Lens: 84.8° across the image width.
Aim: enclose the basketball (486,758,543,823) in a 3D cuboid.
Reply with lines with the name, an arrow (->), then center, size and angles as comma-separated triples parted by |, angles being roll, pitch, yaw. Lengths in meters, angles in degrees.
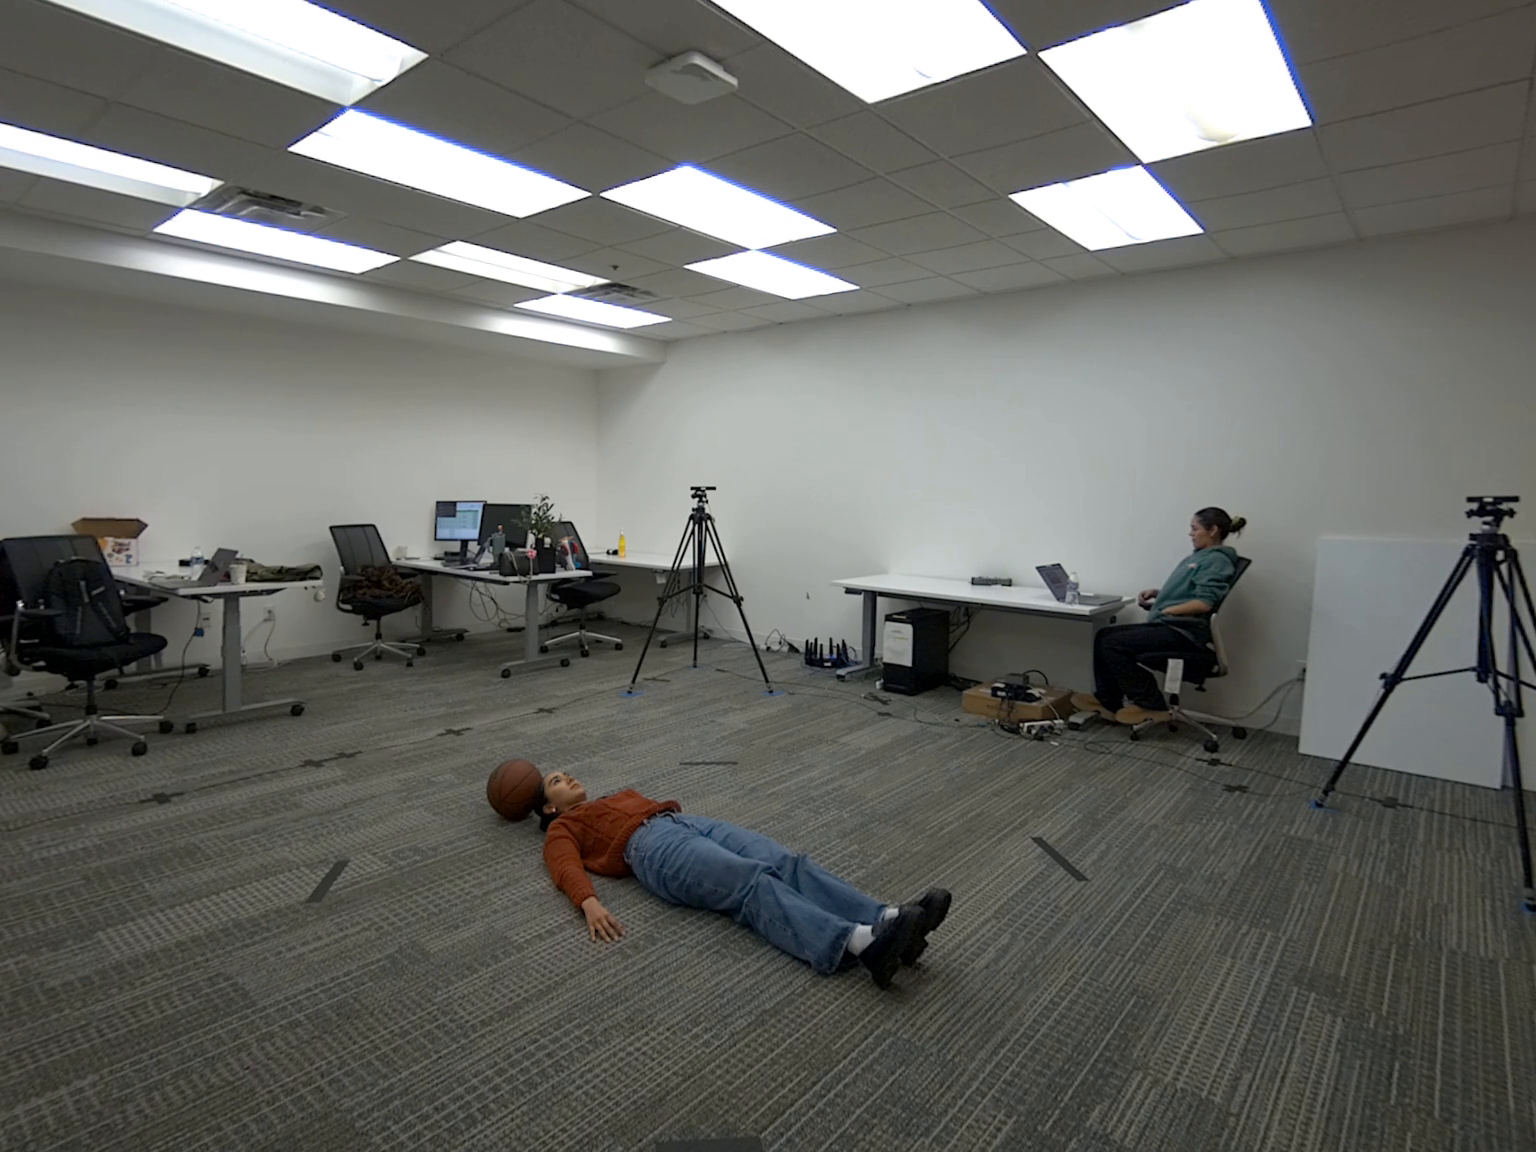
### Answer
basketball -> -1.065, 0.887, 3.563 | 0.236, 0.235, 0.237 | -3, 3, -2
